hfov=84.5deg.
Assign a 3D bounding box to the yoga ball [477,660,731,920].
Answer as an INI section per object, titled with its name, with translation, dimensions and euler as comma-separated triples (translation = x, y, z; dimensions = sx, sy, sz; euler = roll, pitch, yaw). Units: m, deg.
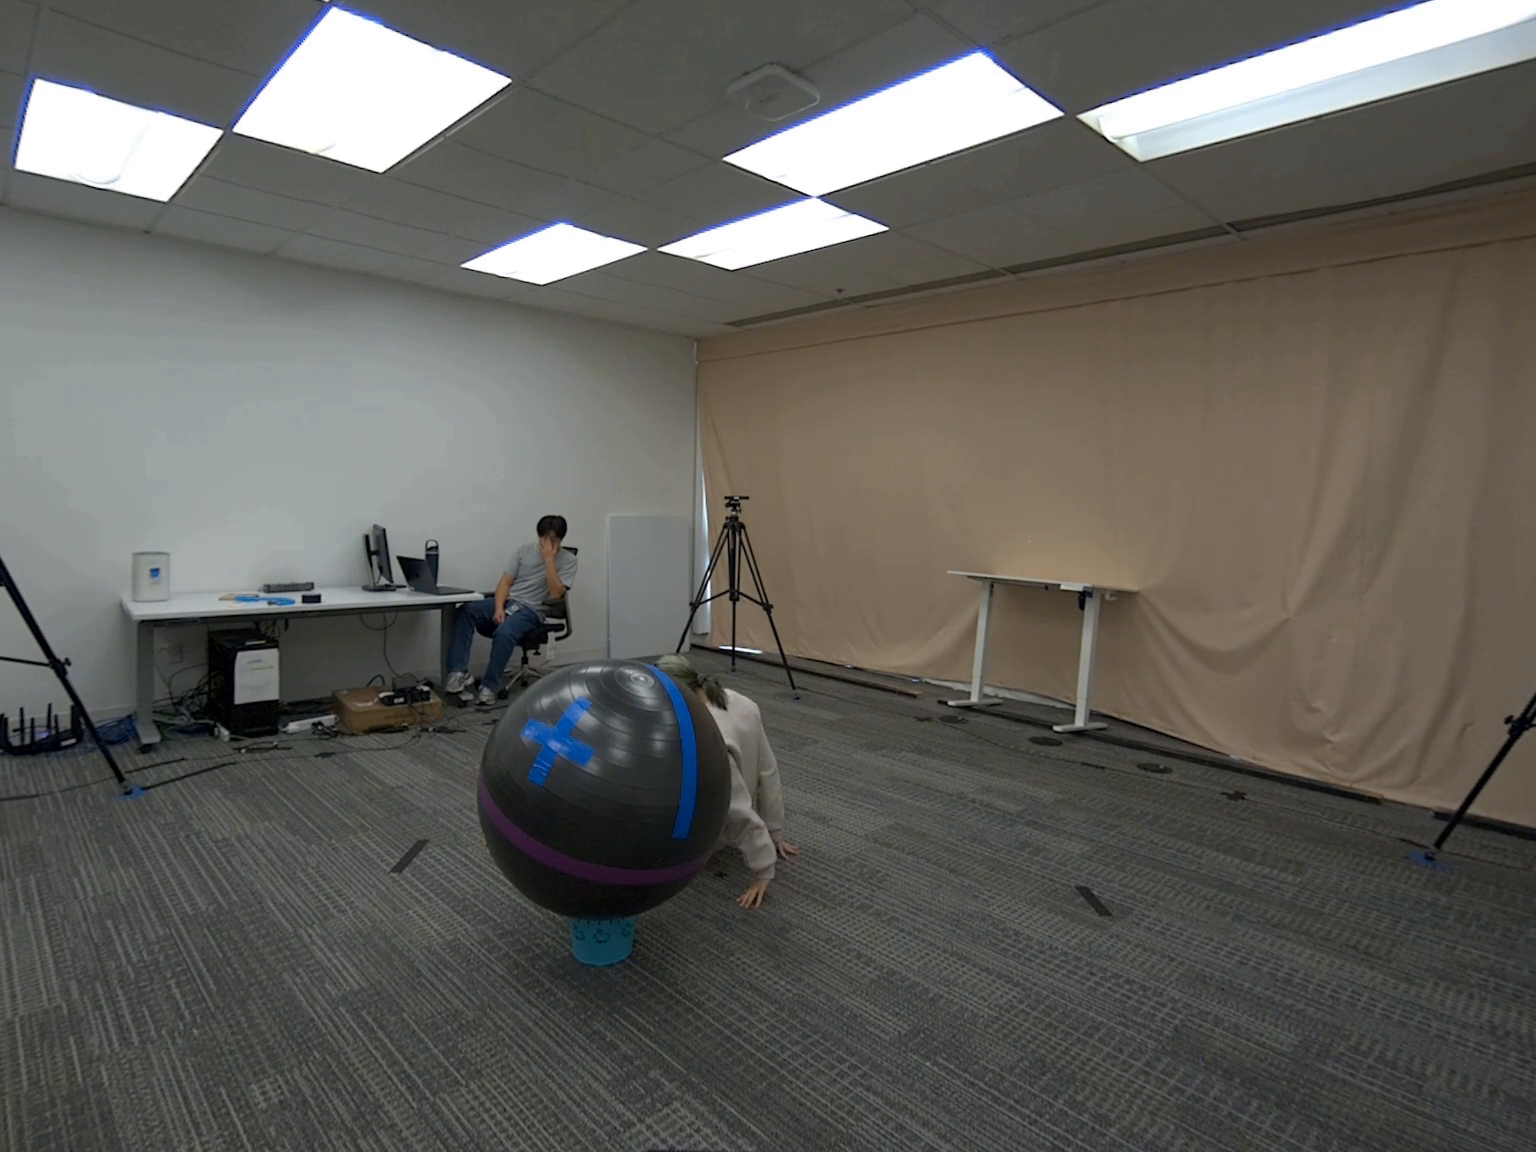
[yoga ball]
translation = -0.493, 0.642, 2.543
dimensions = 0.757, 0.756, 0.761
euler = 1, 4, -1
